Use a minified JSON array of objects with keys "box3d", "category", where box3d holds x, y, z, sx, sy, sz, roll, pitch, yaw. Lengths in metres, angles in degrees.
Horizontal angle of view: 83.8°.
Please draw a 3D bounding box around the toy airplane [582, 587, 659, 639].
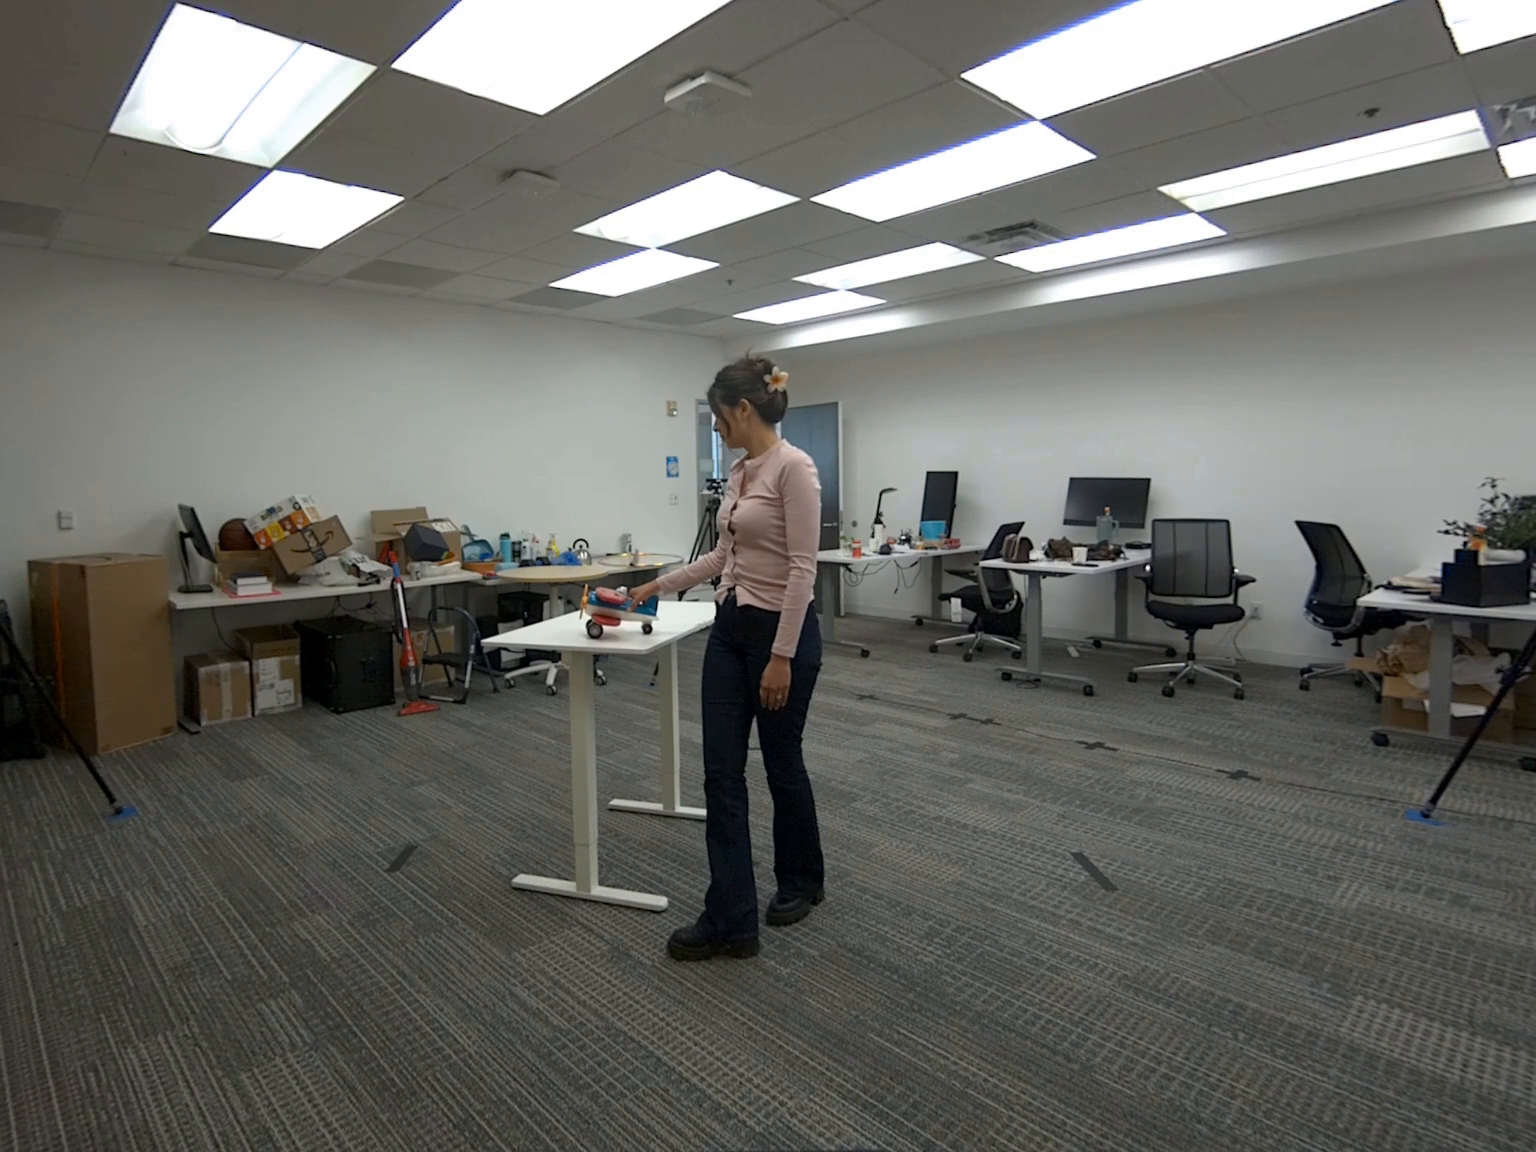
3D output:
[{"box3d":[-0.504,0.121,2.878,0.253,0.155,0.259,-7,9,-39],"category":"toy airplane"}]
